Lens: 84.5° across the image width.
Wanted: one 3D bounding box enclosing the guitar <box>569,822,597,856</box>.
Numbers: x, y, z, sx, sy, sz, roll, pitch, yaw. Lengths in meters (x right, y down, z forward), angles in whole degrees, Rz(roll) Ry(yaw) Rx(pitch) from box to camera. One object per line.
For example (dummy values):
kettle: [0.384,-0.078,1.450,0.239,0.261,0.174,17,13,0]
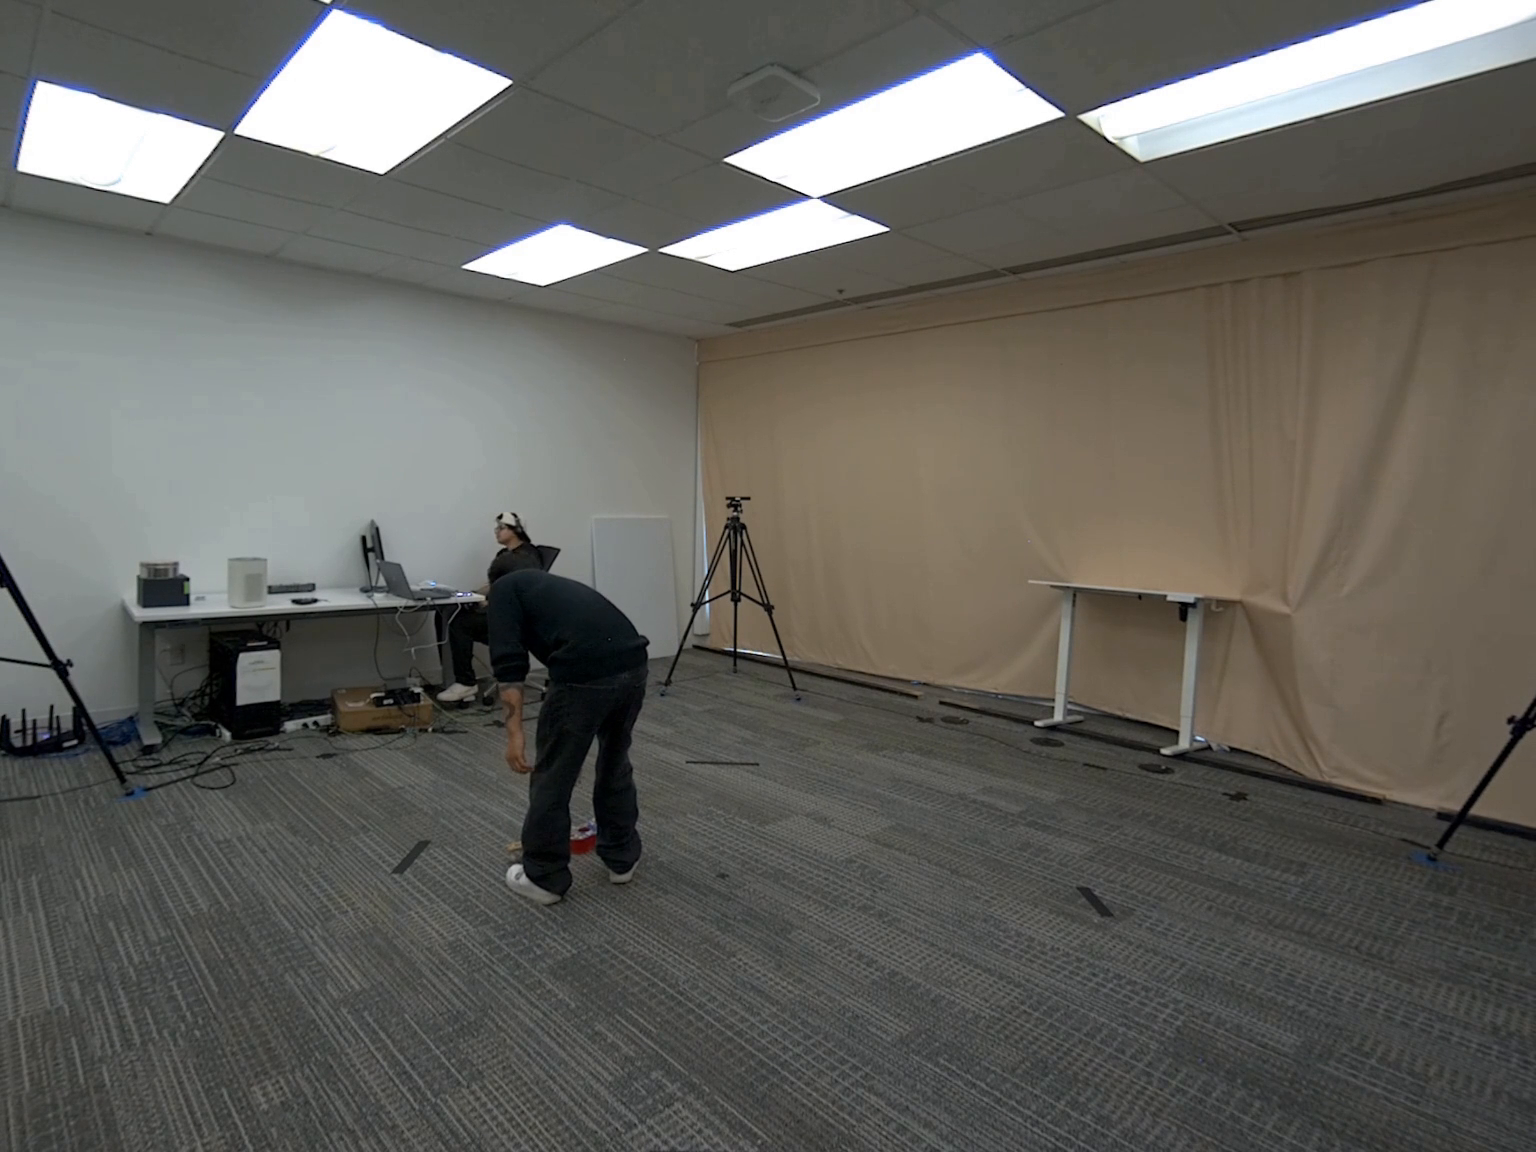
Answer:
guitar: [-0.813,1.043,3.331,0.488,0.070,0.197,-1,6,-29]
